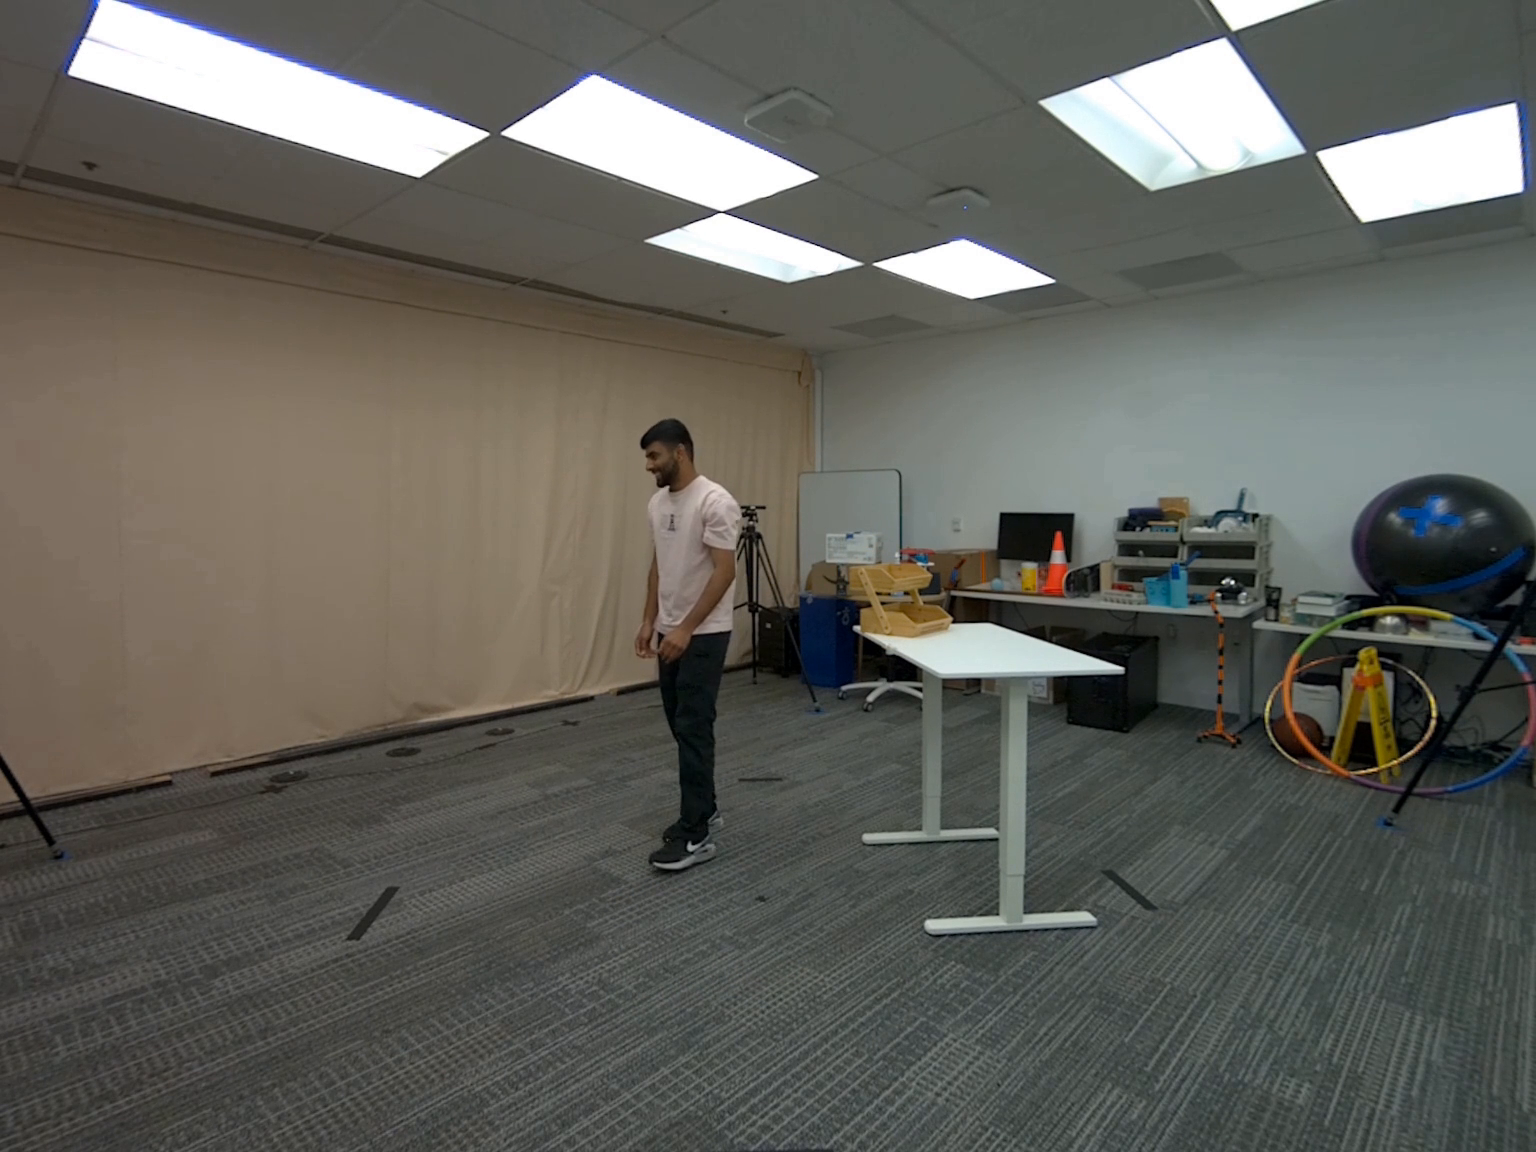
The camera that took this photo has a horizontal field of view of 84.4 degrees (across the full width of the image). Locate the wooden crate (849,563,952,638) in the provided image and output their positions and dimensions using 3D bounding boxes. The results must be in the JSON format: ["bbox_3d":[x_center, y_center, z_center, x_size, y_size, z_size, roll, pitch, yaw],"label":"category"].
[{"bbox_3d":[0.546,0.089,3.423,0.312,0.273,0.314,2,4,41],"label":"wooden crate"}]
